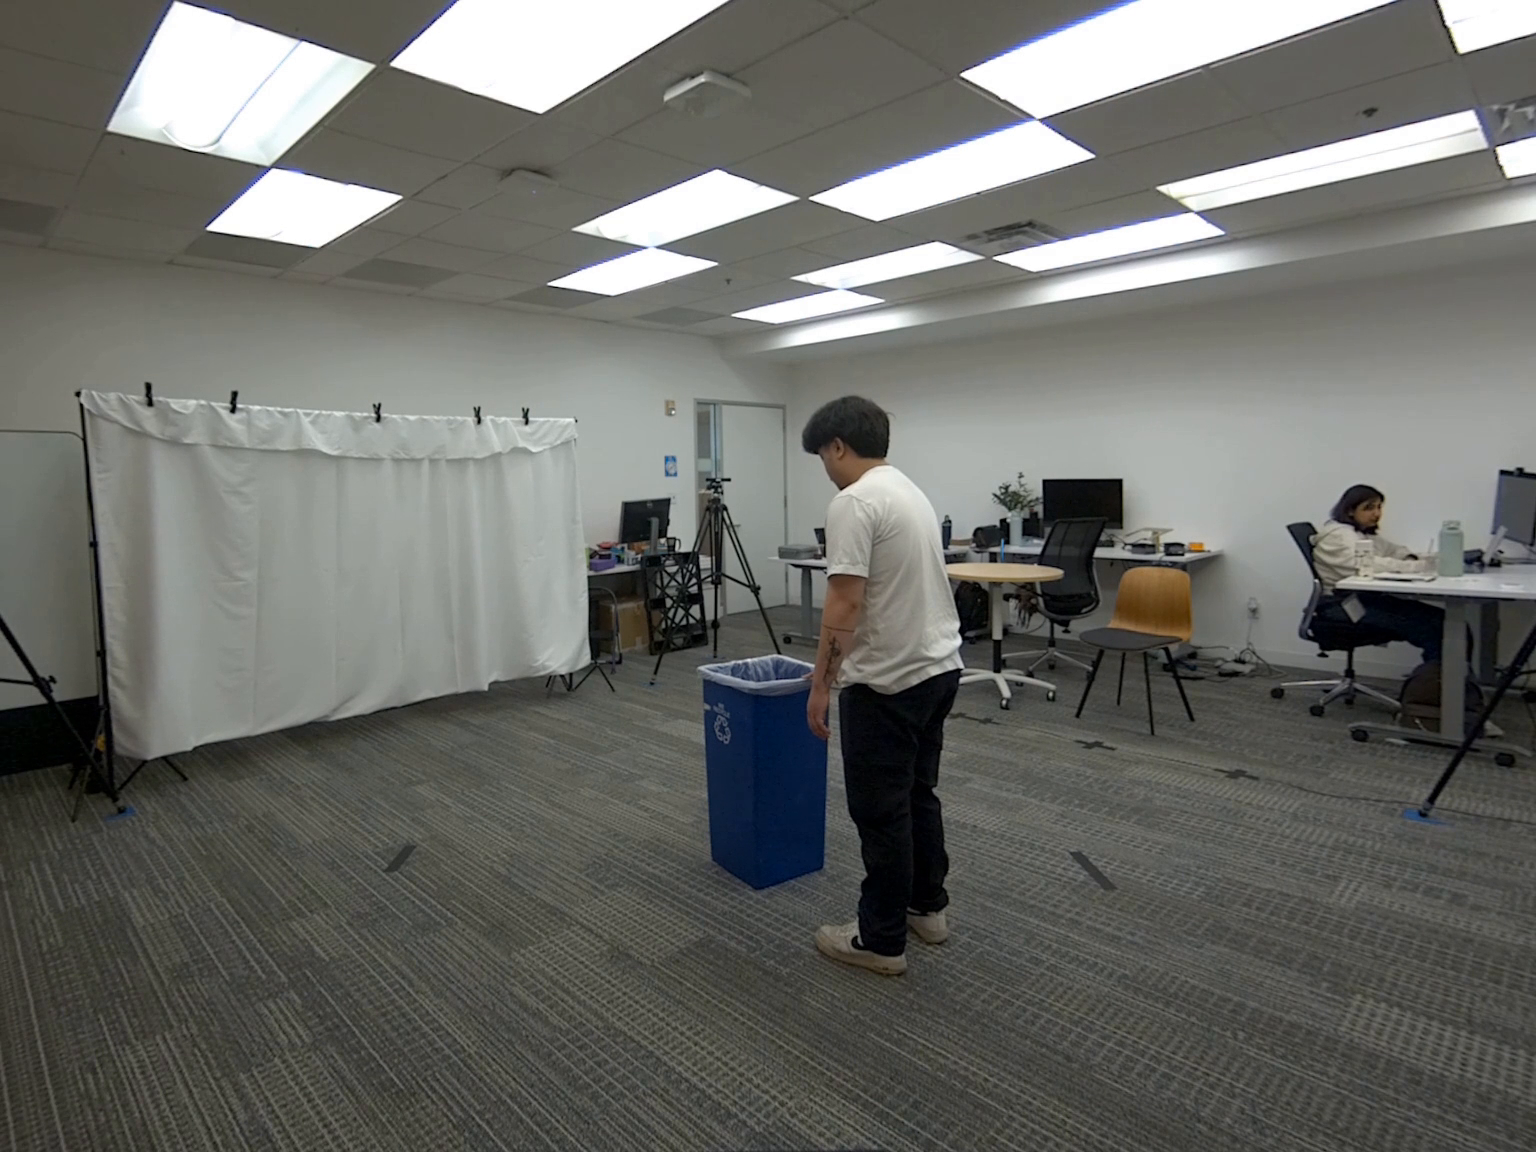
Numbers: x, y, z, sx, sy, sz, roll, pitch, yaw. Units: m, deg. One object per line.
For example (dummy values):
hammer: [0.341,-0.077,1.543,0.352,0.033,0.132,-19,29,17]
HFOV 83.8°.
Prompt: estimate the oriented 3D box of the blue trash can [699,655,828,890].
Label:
blue trash can: [0.000,0.687,3.069,0.368,0.711,0.385,-4,5,-35]
